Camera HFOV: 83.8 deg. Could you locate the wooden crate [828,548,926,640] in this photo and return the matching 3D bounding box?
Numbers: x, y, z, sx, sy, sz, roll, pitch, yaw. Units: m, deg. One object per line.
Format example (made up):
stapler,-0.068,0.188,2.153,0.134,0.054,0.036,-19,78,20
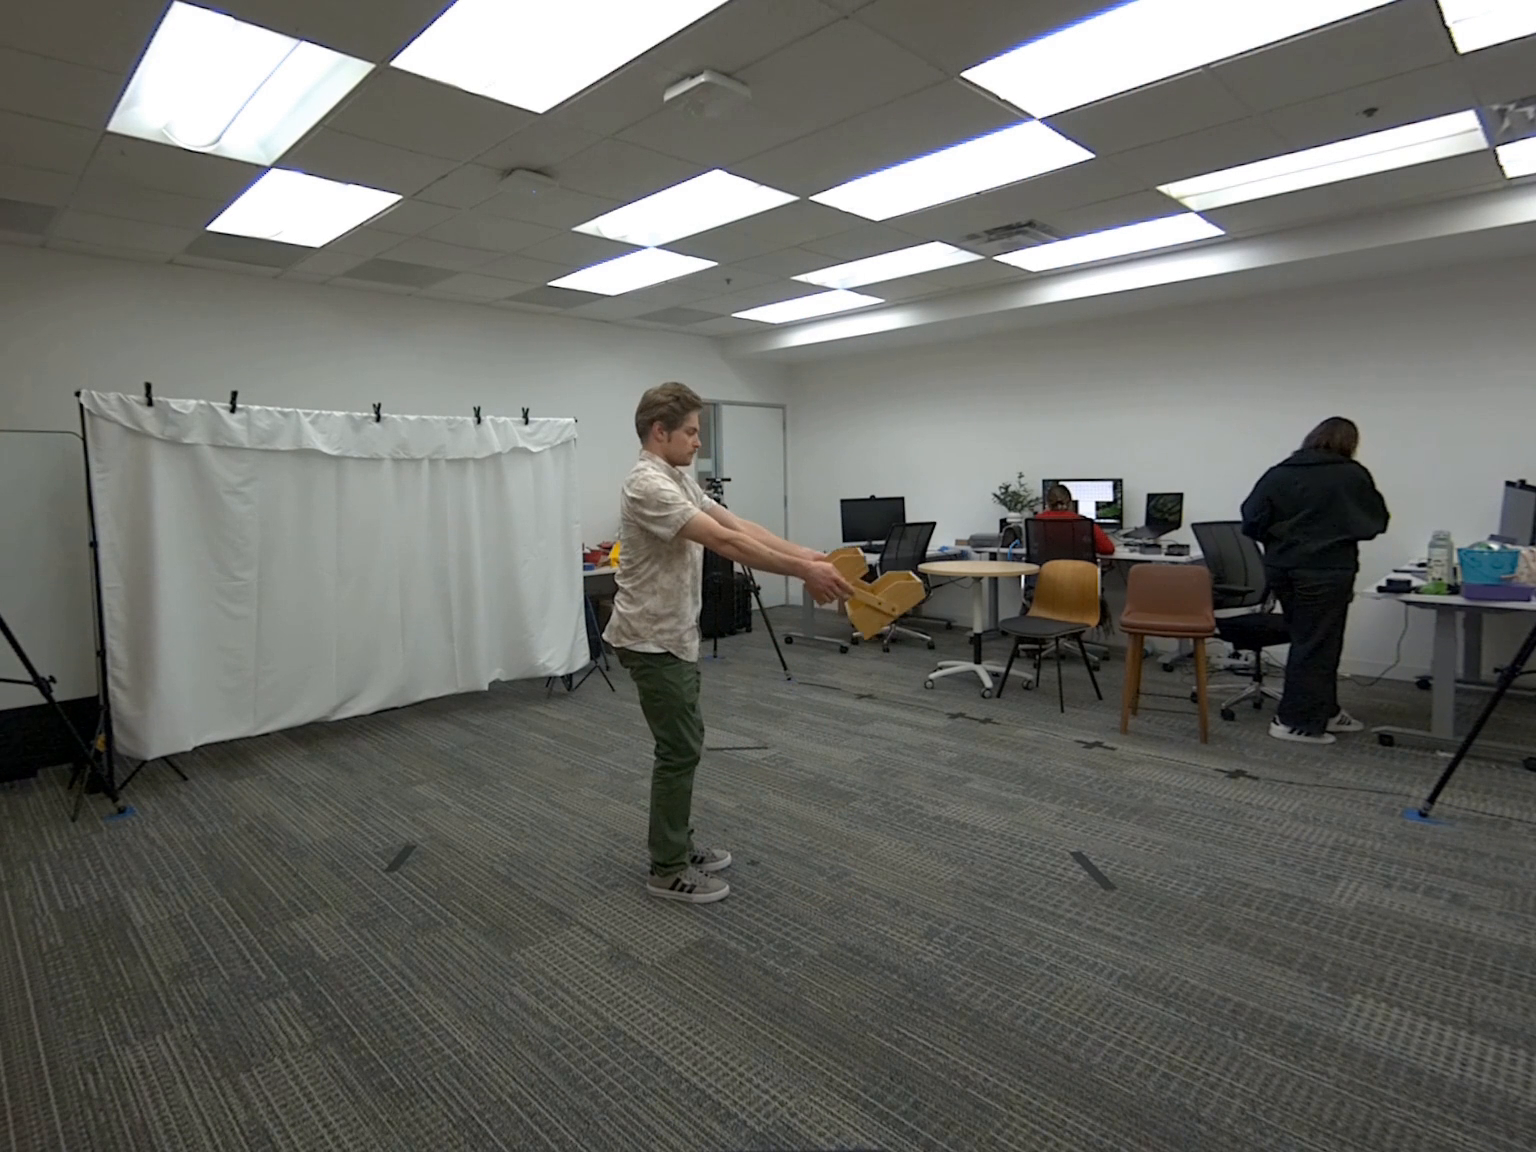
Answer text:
wooden crate,0.310,0.025,2.808,0.302,0.274,0.323,-37,0,7
